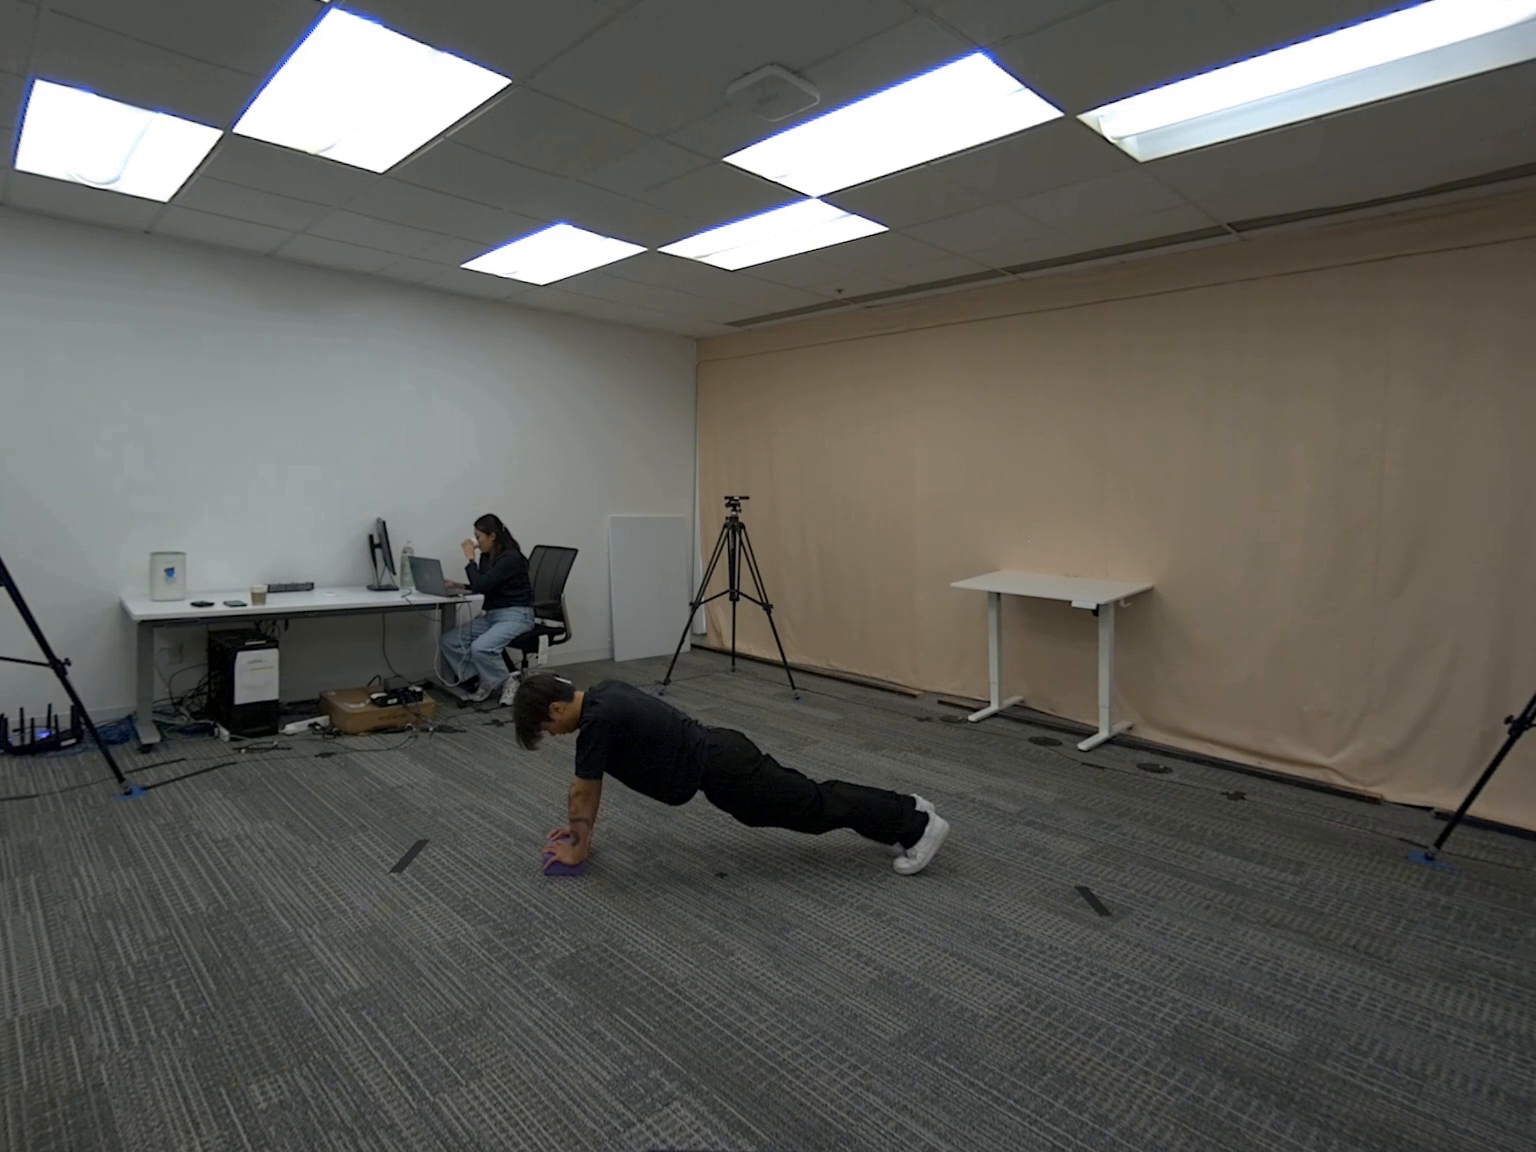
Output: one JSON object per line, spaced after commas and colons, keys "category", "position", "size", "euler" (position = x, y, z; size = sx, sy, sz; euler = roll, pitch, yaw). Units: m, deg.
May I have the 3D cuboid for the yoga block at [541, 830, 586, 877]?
{"category": "yoga block", "position": [-0.762, 1.042, 3.180], "size": [0.148, 0.076, 0.231], "euler": [1, 6, -7]}
